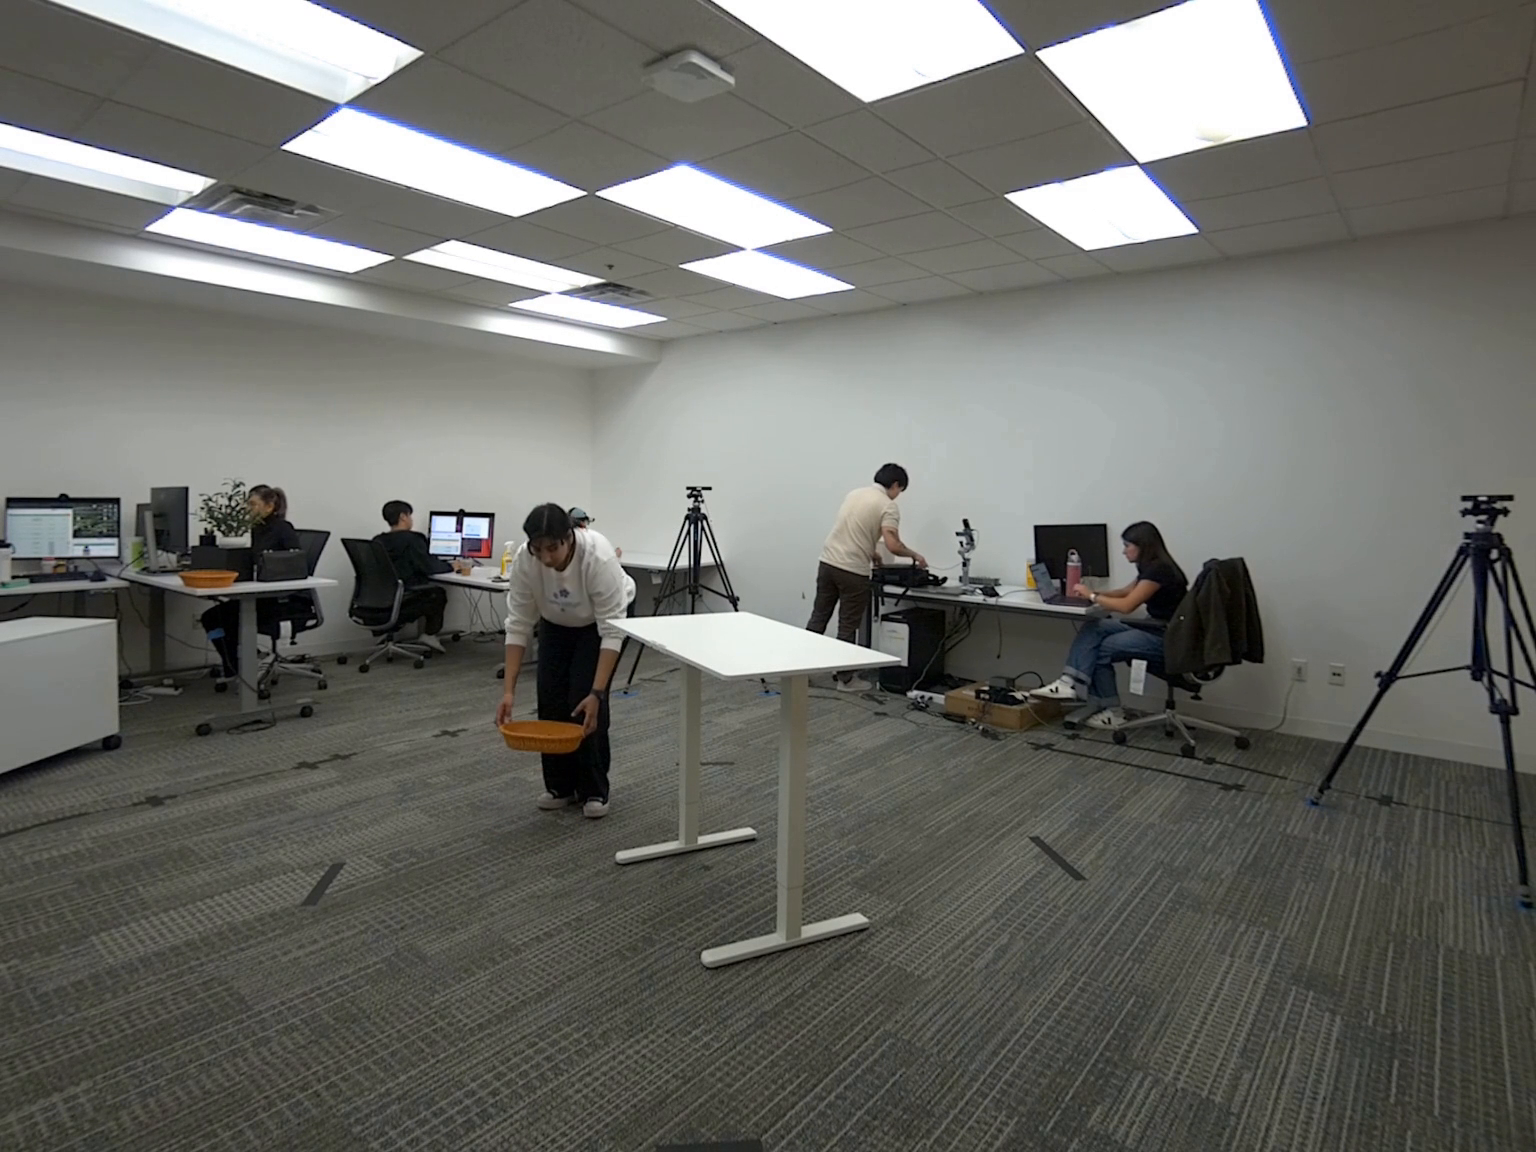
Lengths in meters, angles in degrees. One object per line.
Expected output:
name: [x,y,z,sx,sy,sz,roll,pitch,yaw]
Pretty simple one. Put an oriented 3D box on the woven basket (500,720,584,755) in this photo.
woven basket: [-0.906,0.635,3.369,0.356,0.073,0.249,3,4,13]
